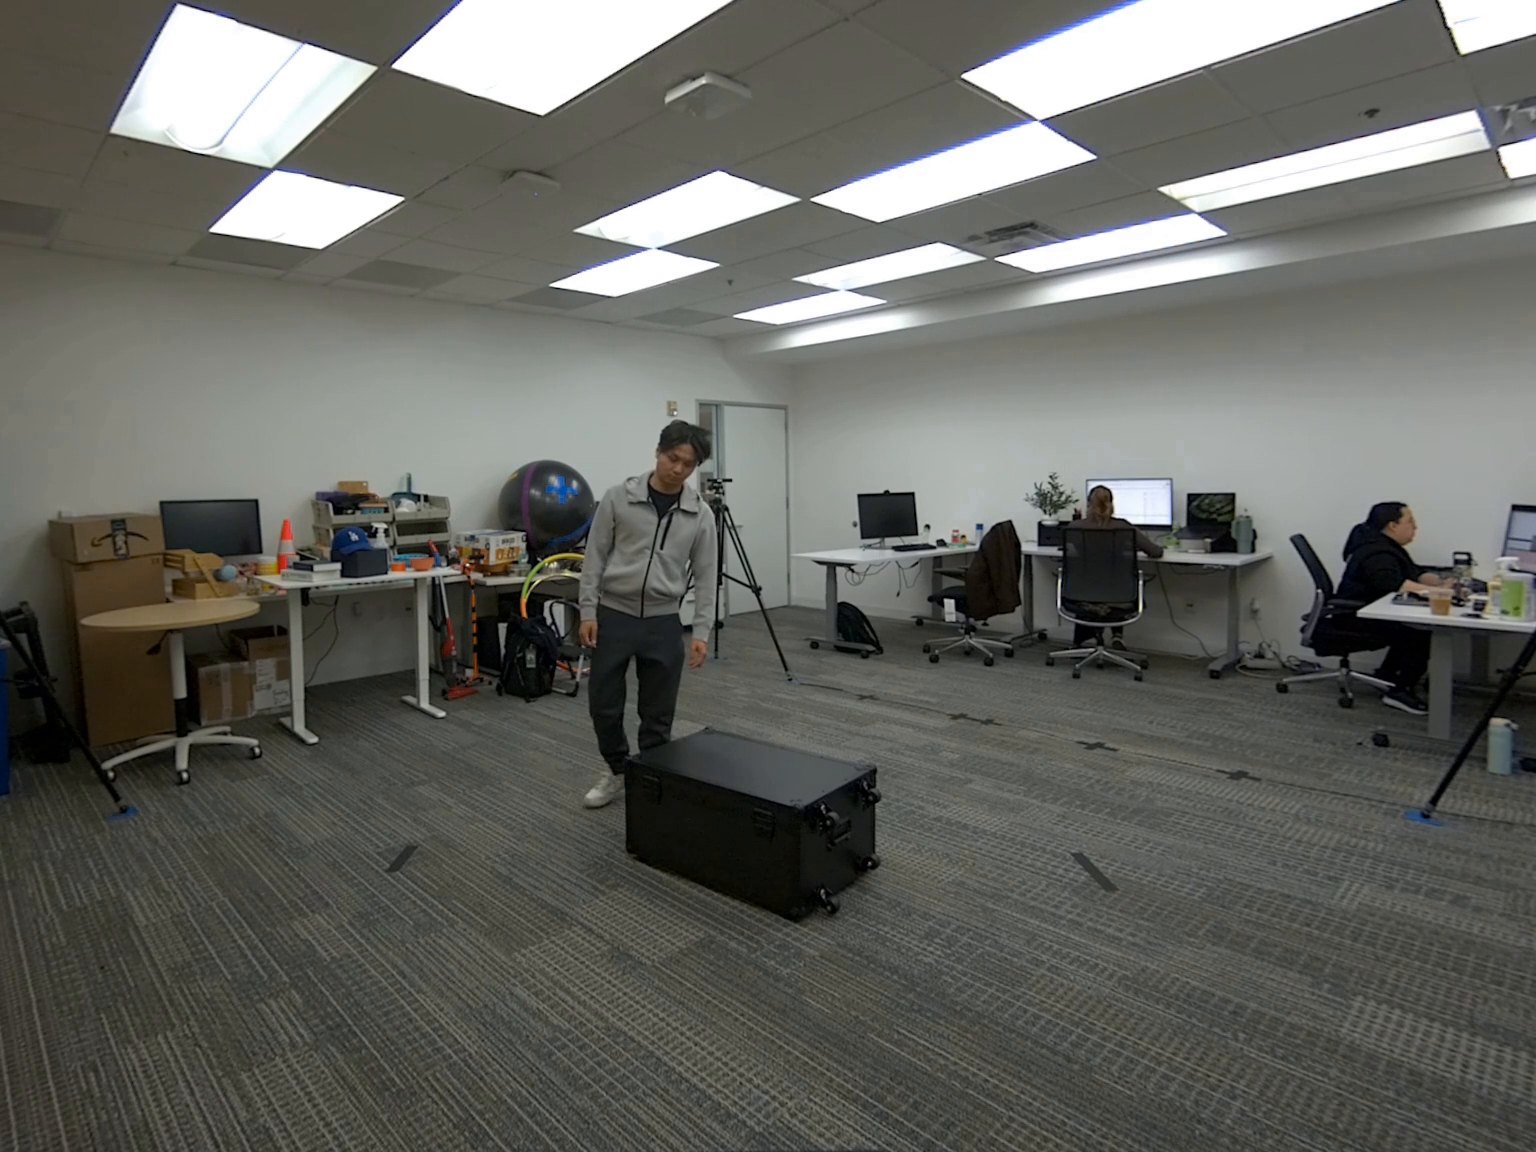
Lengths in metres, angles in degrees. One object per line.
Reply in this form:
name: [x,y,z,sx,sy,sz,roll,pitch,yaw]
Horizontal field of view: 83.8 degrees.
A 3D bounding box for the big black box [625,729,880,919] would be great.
big black box: [-0.046,0.860,3.063,0.887,0.394,0.508,3,7,38]
